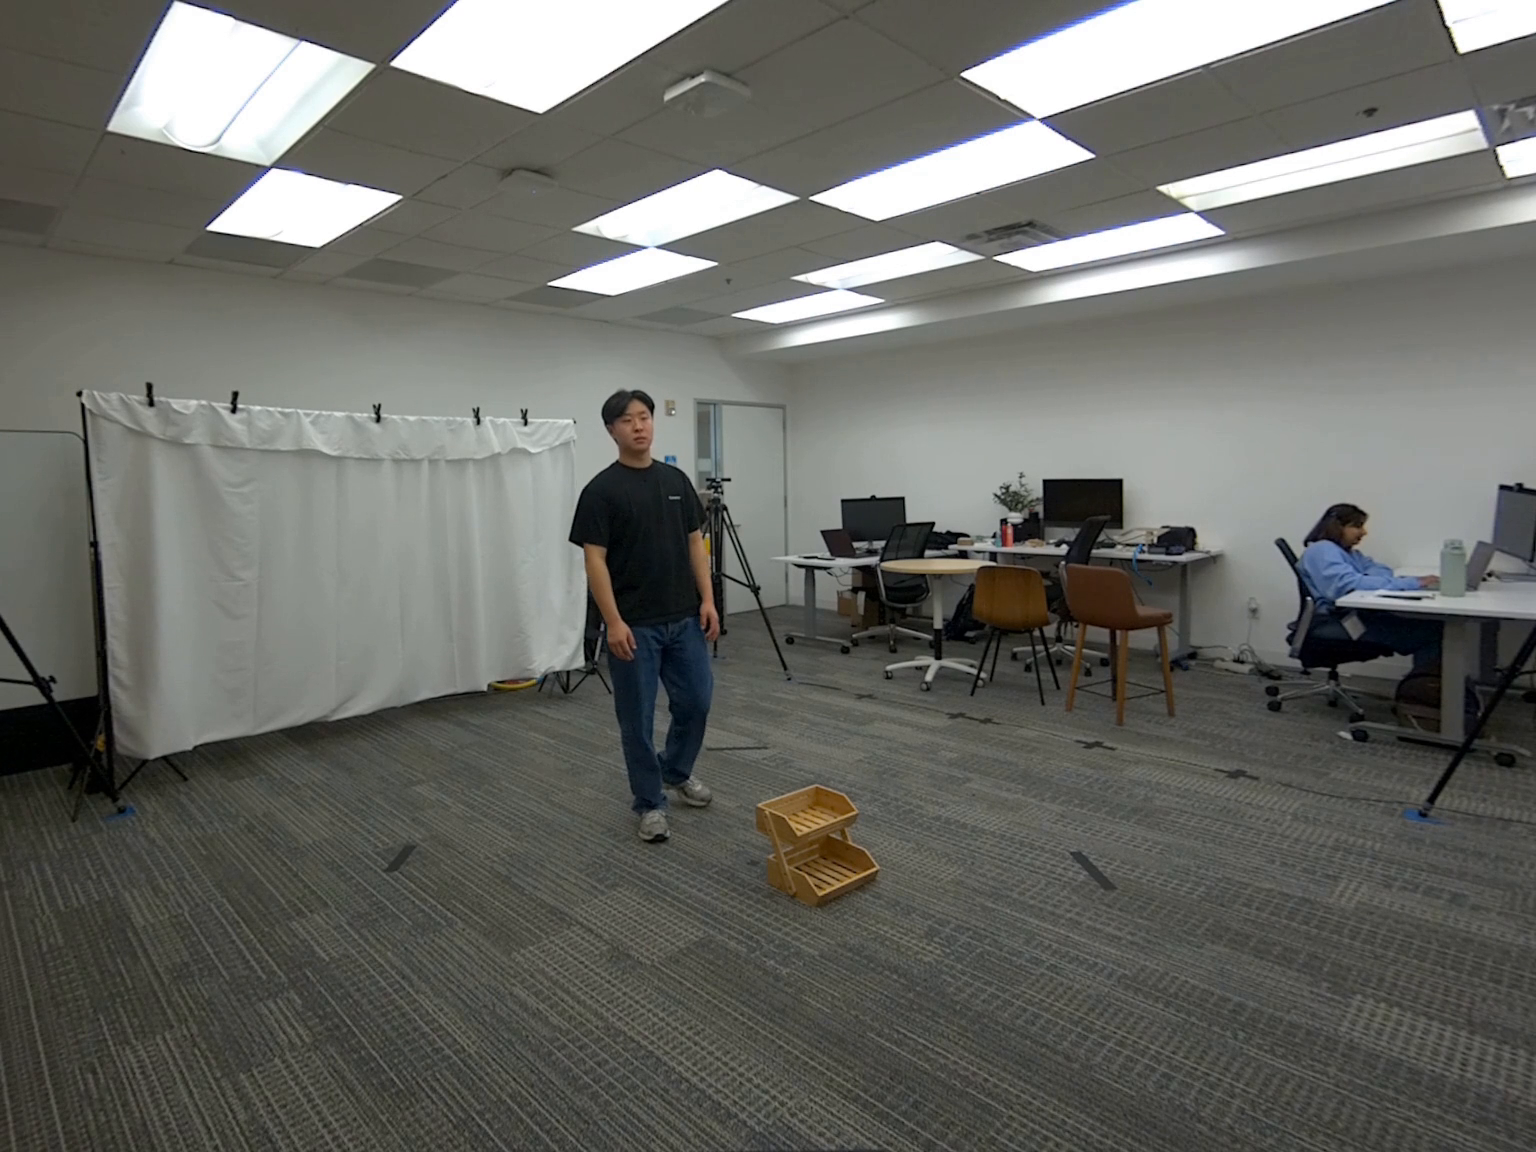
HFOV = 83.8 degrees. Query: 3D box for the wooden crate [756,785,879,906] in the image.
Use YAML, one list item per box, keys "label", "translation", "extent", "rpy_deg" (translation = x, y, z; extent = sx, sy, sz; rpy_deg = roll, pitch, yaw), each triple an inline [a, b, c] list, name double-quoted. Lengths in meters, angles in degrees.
- label: "wooden crate"
  translation: [0.177, 0.921, 2.961]
  extent: [0.316, 0.272, 0.311]
  rpy_deg: [-6, 7, -41]
